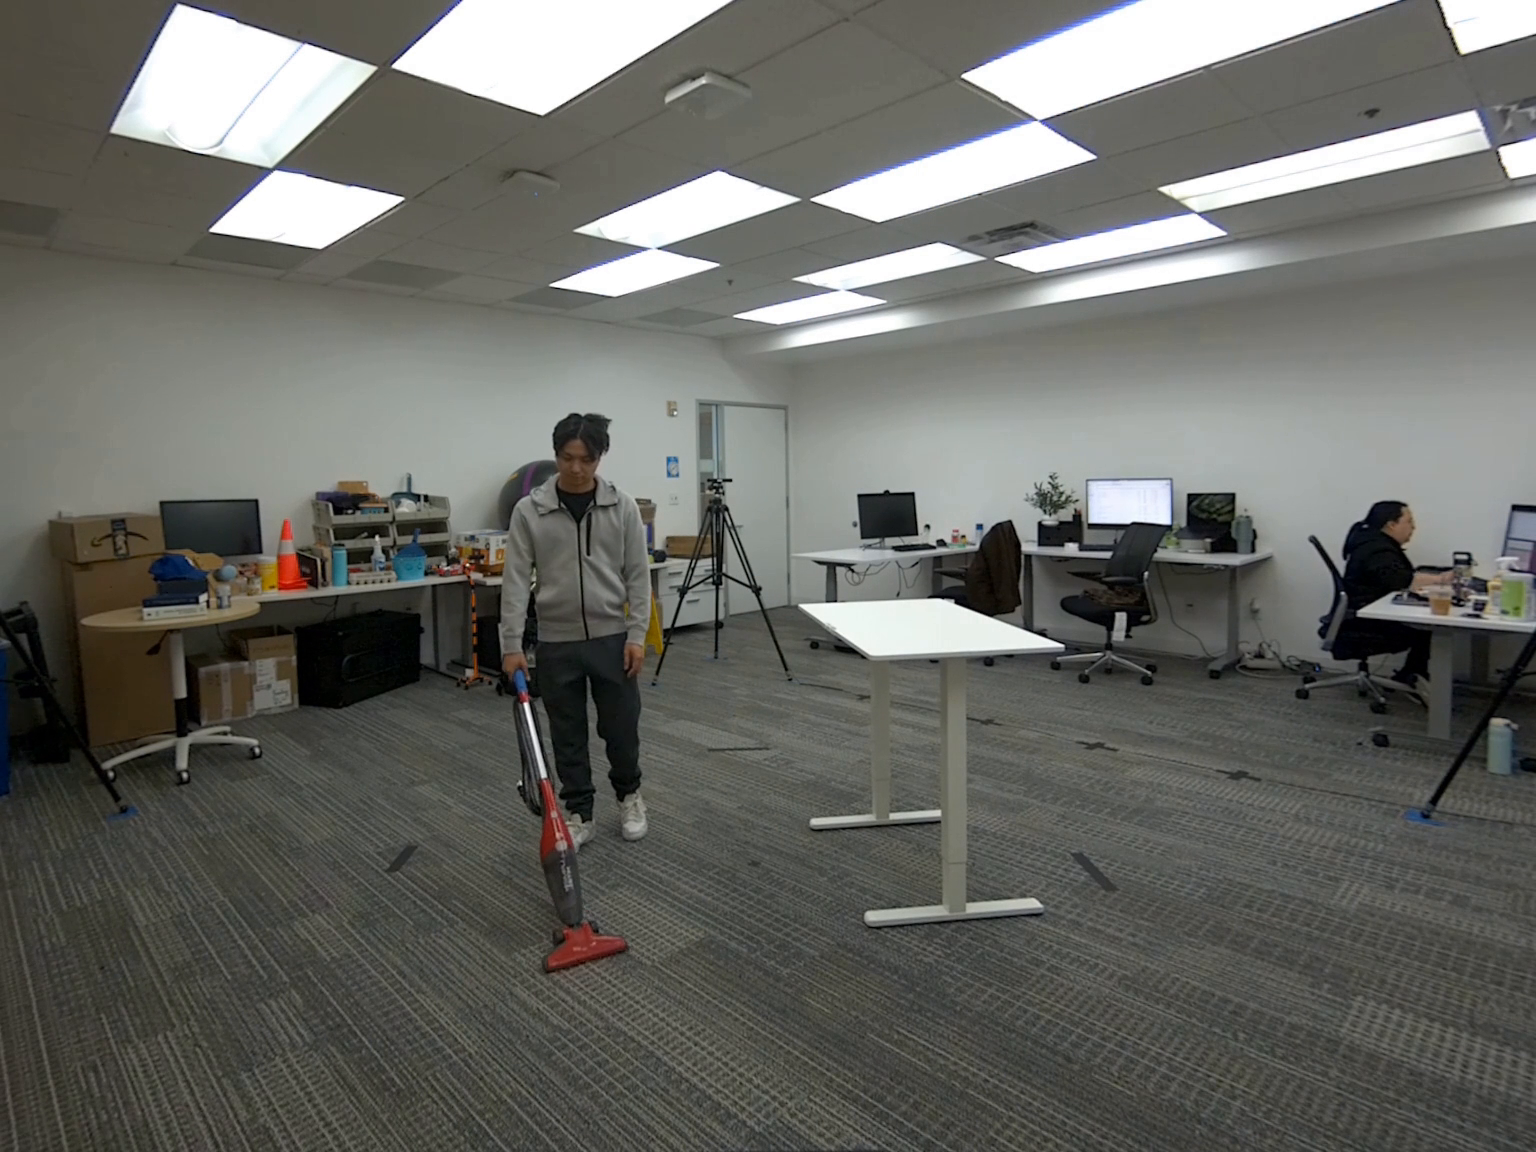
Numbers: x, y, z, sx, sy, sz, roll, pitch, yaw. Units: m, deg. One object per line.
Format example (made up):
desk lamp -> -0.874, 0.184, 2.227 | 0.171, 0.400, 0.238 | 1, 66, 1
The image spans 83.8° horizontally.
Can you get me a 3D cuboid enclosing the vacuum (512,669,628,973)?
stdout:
vacuum -> -0.745, 0.717, 2.851 | 0.247, 1.087, 0.142 | -6, -39, -27
